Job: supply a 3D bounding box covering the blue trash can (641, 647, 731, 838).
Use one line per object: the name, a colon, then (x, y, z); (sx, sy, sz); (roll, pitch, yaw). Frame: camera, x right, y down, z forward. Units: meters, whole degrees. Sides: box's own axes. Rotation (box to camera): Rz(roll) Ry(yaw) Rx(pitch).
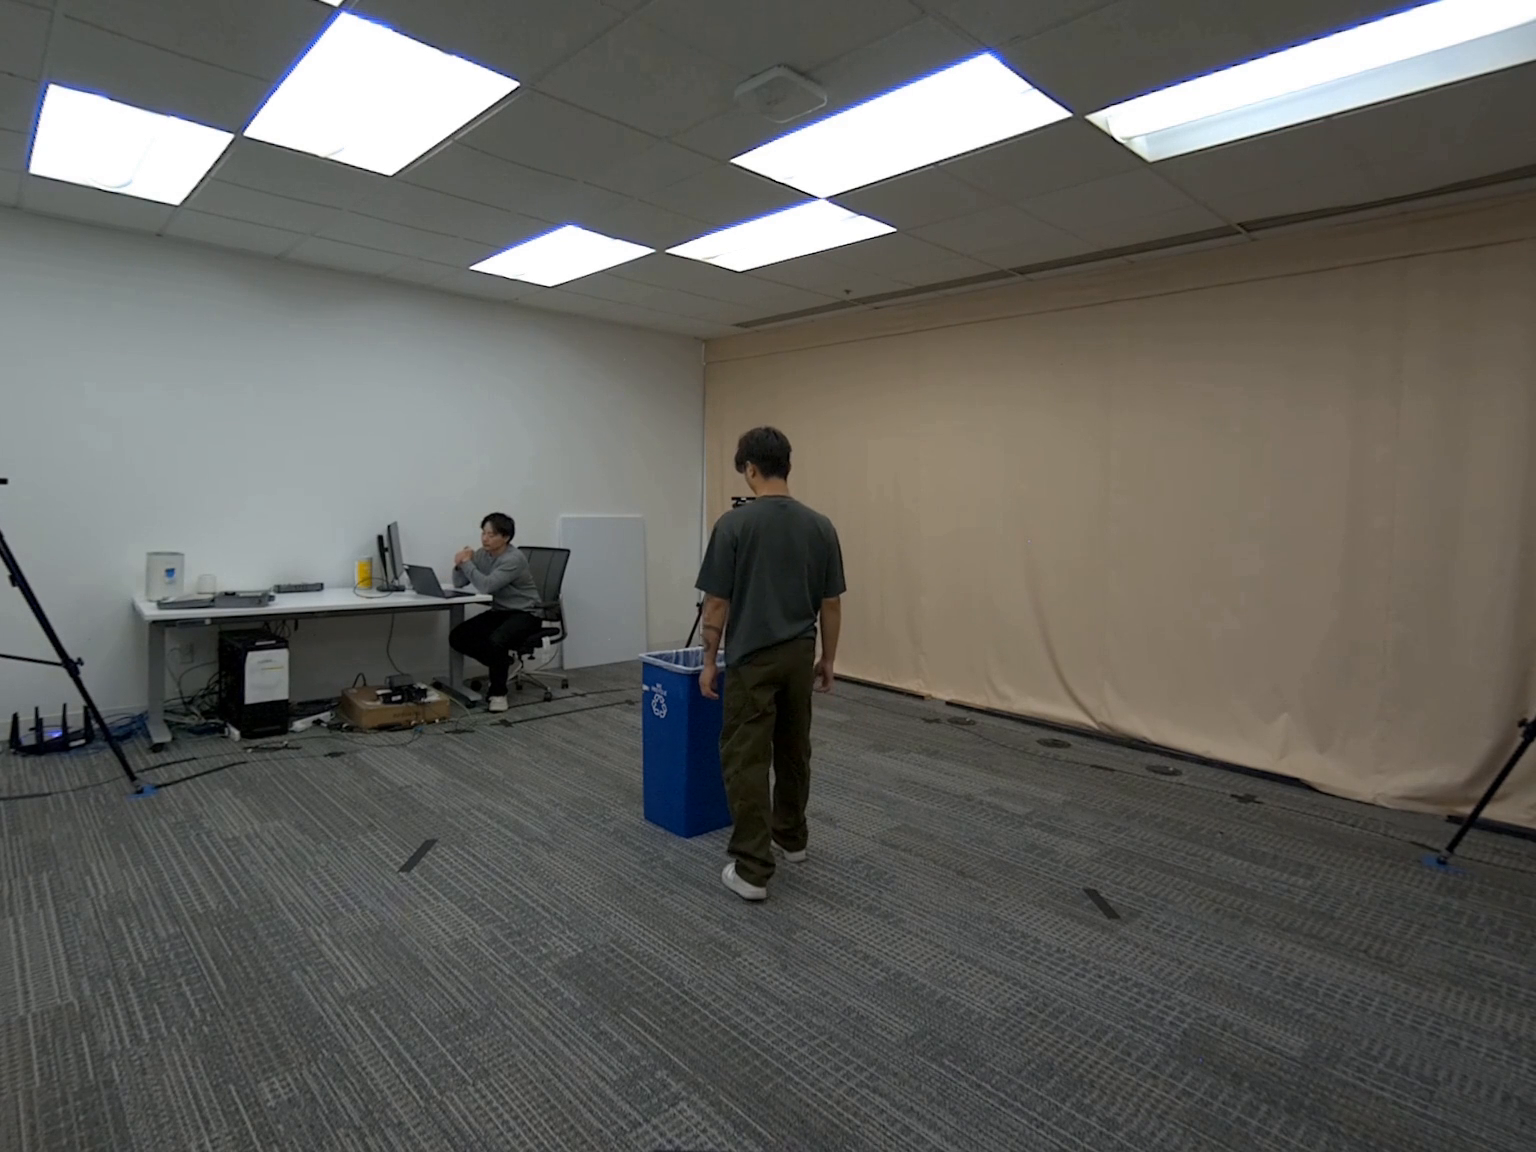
blue trash can: (-0.323, 0.700, 3.619); (0.369, 0.712, 0.383); (-2, 4, -44)
